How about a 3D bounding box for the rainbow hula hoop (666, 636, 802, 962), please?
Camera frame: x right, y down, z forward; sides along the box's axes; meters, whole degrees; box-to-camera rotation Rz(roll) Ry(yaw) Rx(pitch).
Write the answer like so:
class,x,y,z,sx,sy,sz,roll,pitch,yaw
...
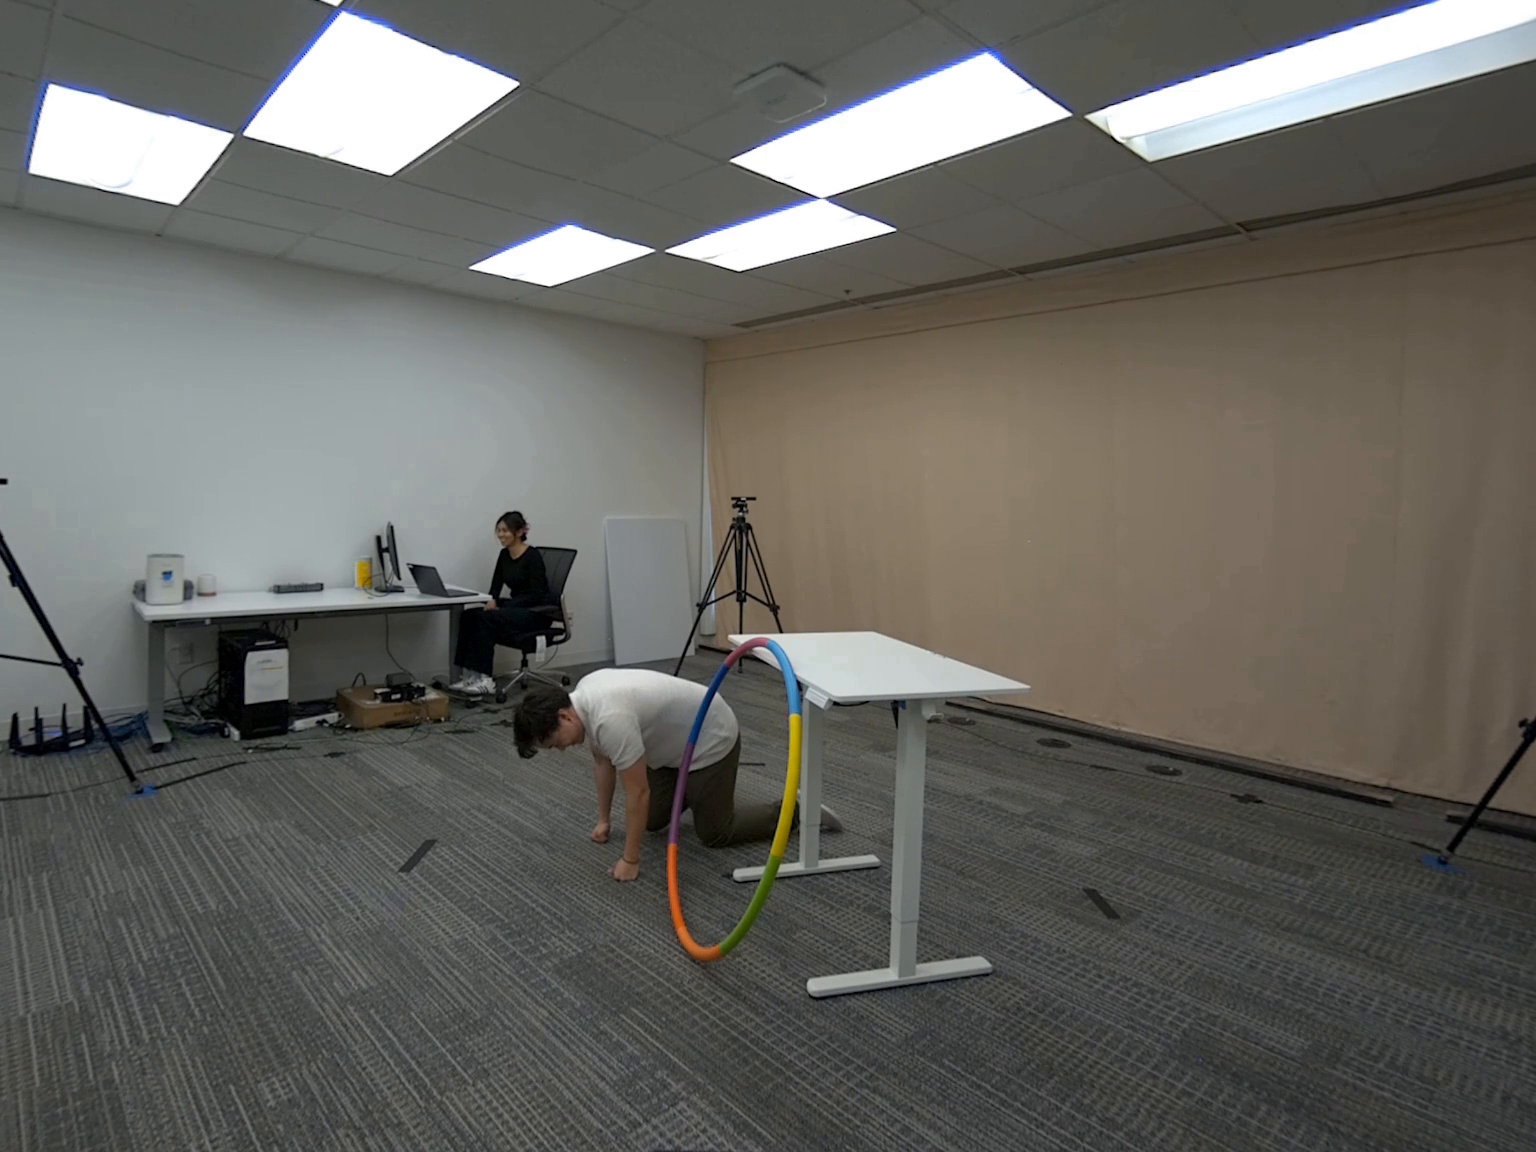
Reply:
class,x,y,z,sx,sy,sz,roll,pitch,yaw
rainbow hula hoop,-0.143,0.680,2.652,0.035,0.979,0.995,17,-1,-20
